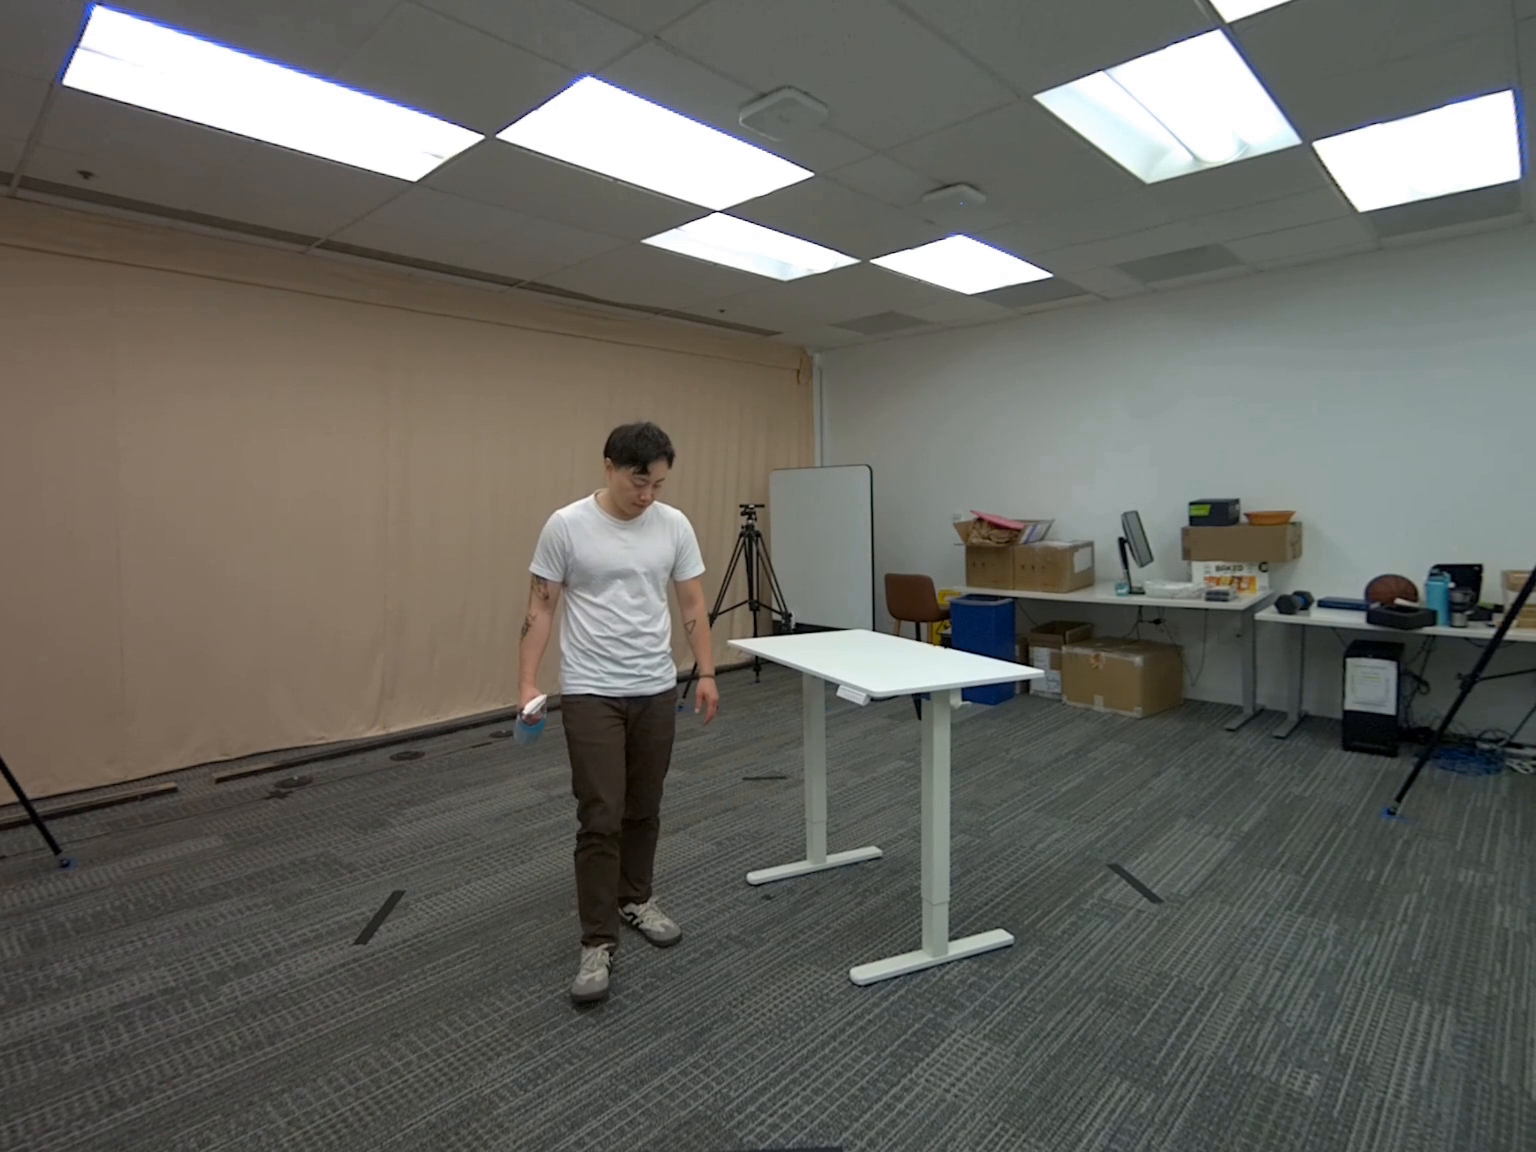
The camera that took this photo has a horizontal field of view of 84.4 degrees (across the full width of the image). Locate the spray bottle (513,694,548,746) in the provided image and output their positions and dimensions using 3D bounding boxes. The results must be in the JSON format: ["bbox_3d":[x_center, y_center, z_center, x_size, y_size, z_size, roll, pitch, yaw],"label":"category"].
[{"bbox_3d":[-0.715,0.432,2.548,0.088,0.088,0.298,-15,-19,-27],"label":"spray bottle"}]
